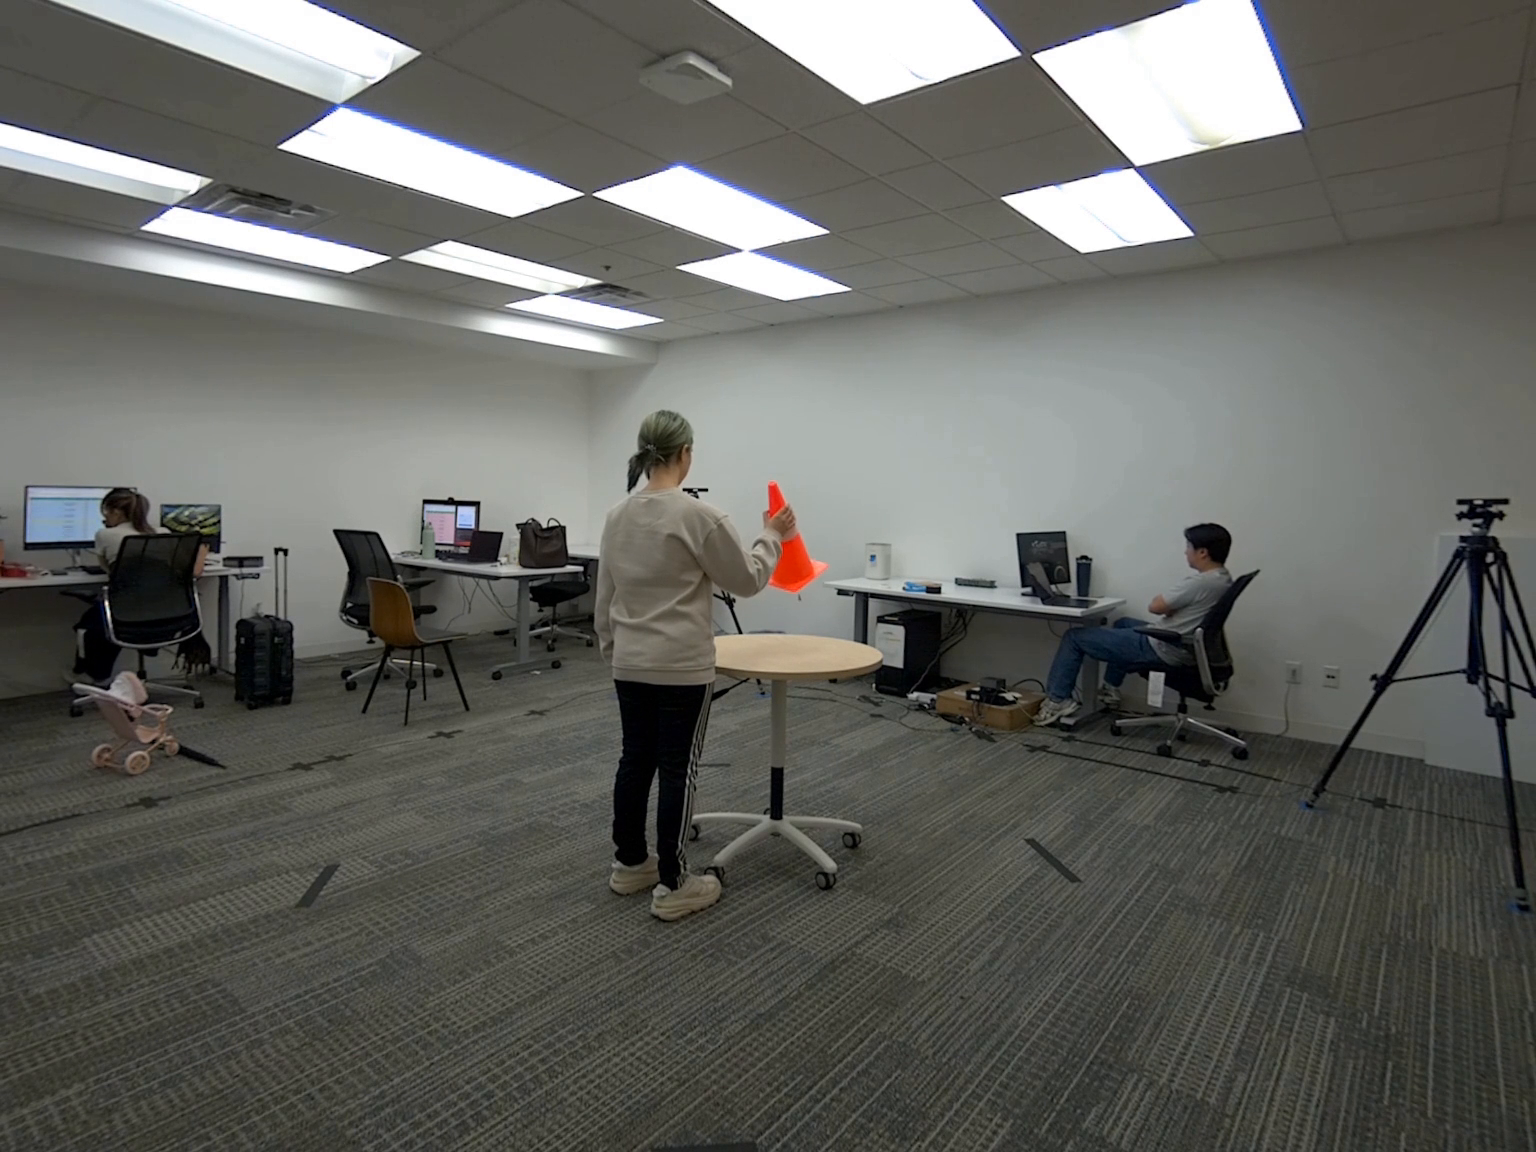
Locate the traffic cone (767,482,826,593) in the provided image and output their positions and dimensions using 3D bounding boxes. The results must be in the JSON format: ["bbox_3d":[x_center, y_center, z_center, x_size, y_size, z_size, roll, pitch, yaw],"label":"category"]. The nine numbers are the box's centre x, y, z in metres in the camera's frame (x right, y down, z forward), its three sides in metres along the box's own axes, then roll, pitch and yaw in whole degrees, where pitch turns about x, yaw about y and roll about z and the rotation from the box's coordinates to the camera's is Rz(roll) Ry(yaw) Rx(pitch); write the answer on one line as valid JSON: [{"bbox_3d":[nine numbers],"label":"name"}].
[{"bbox_3d":[0.038,-0.168,3.042,0.212,0.372,0.202,13,40,39],"label":"traffic cone"}]
